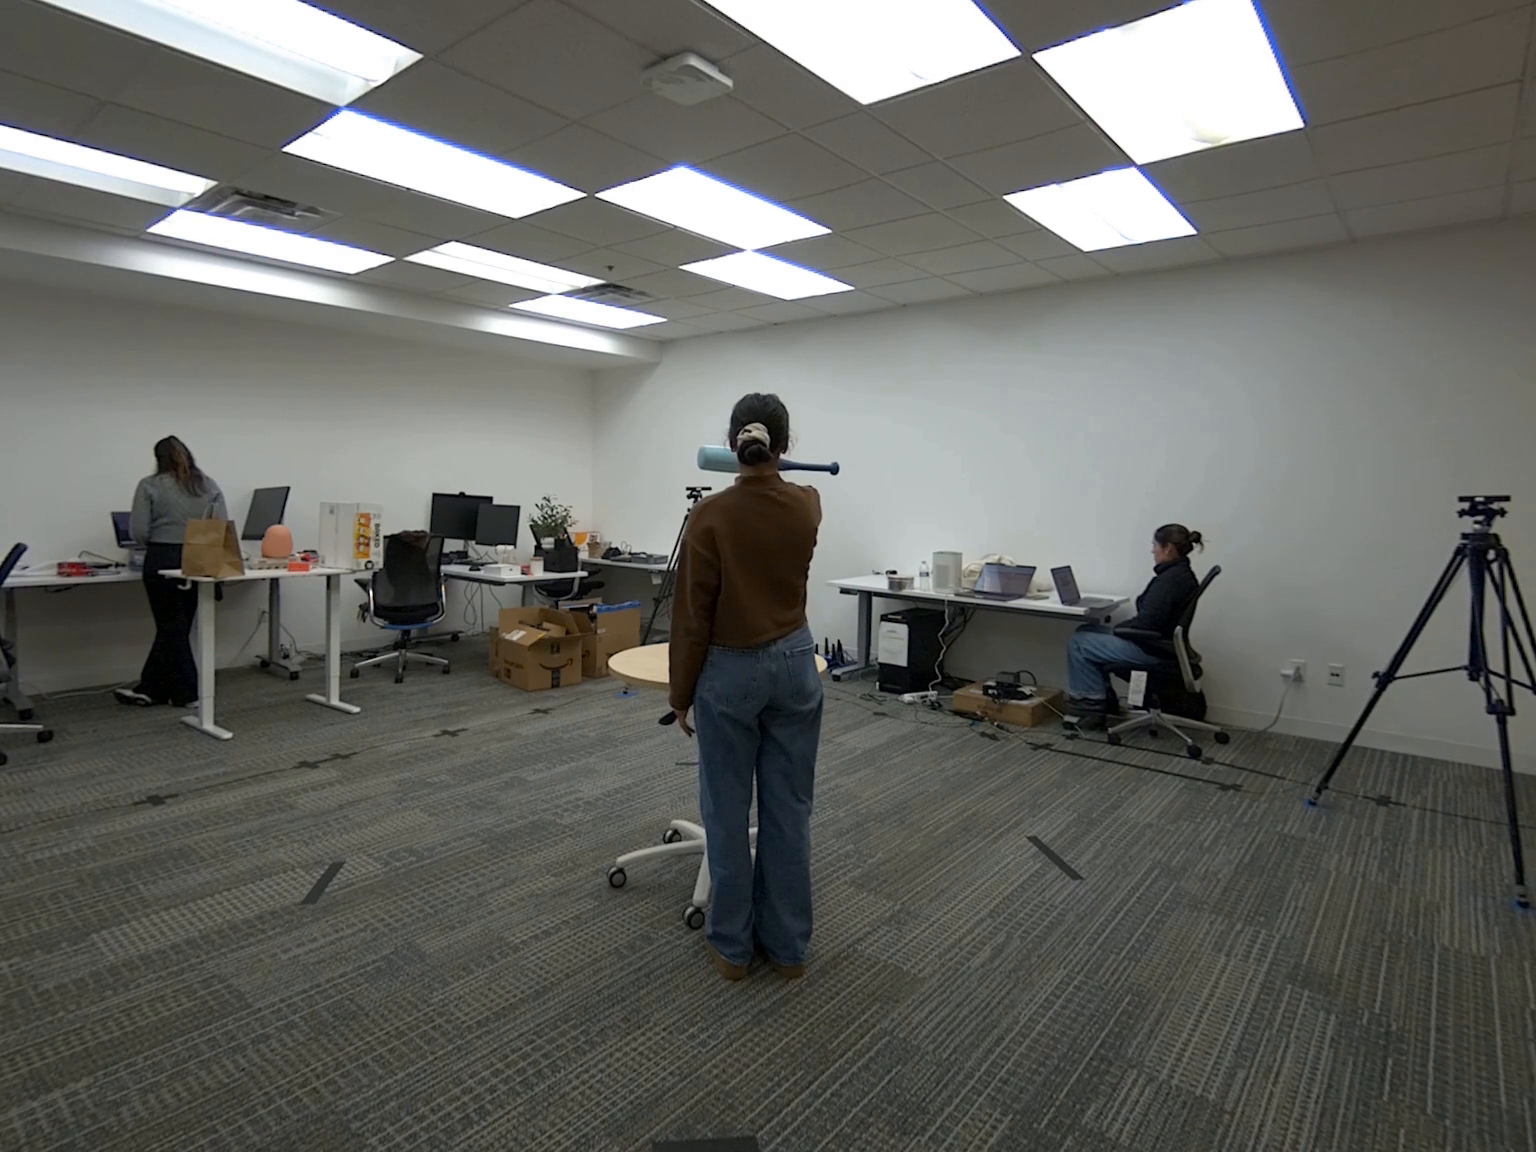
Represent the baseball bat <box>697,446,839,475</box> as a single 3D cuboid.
[{"bbox_3d":[-0.004,-0.403,3.045,0.531,0.089,0.091,2,3,-22],"label":"baseball bat"}]
